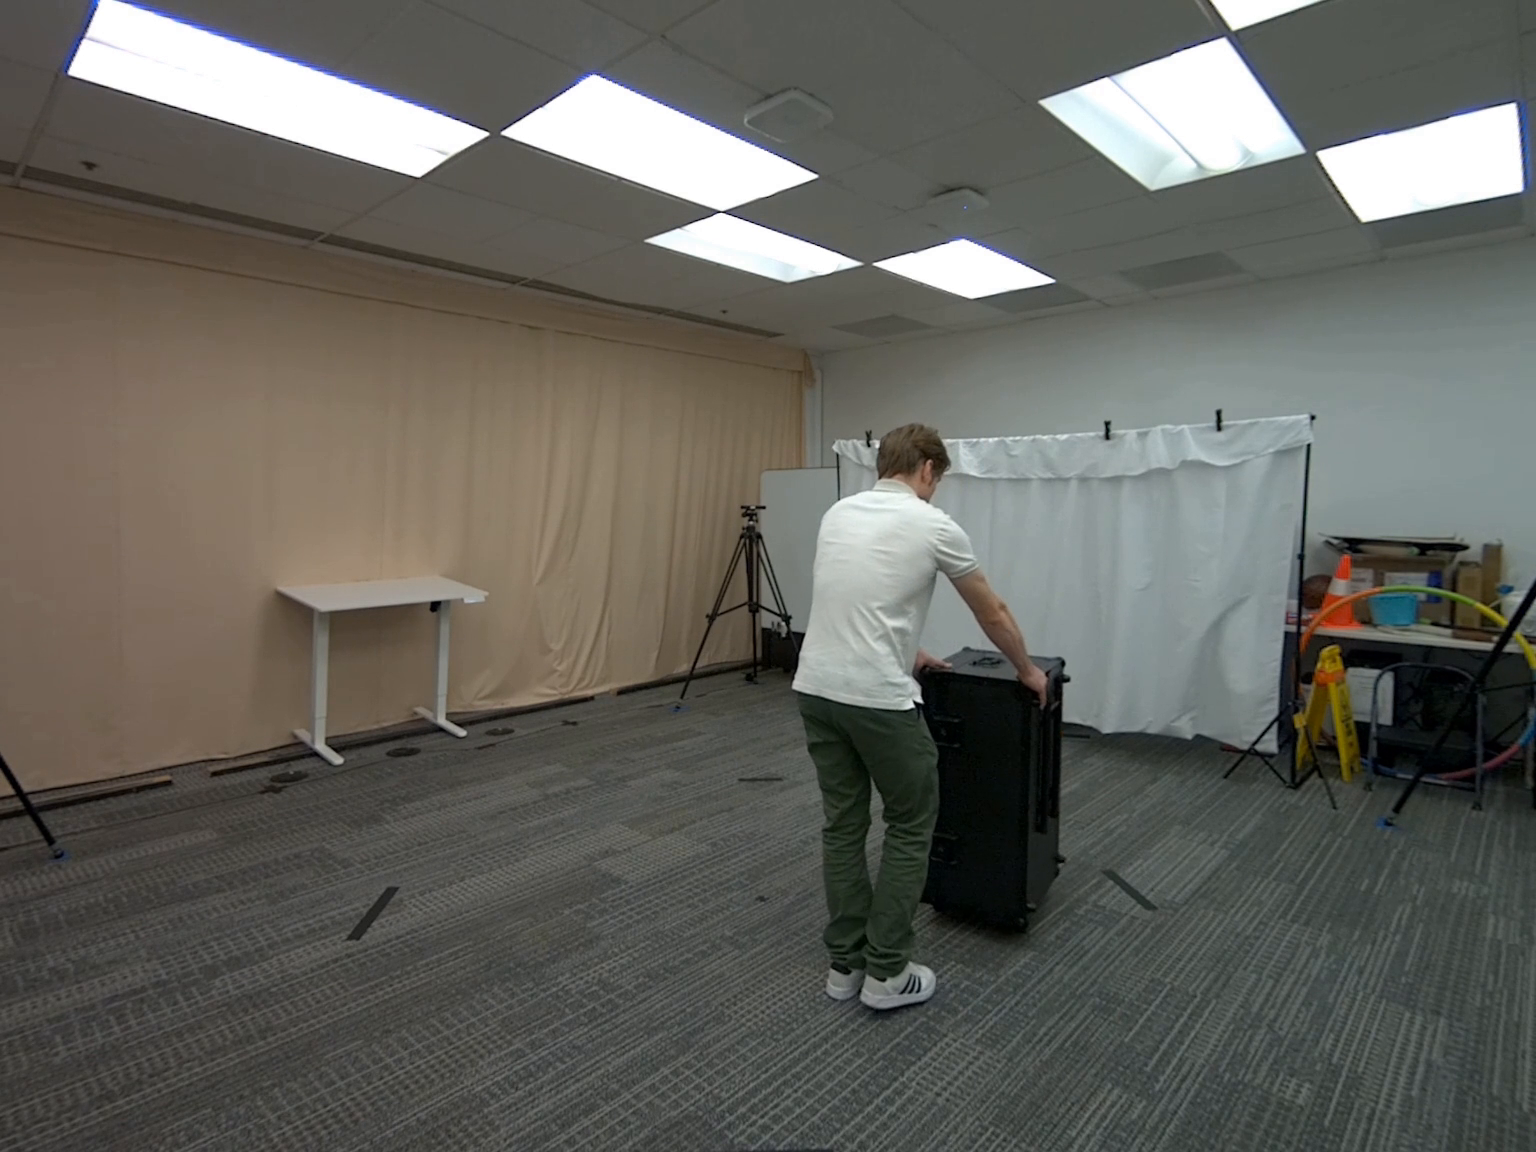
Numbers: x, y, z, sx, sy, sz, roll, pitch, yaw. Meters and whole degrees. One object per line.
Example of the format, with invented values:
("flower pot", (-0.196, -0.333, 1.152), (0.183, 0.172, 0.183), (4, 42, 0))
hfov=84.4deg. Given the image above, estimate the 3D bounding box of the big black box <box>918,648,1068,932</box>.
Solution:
("big black box", (0.786, 0.726, 2.898), (0.397, 0.866, 0.509), (3, 5, 31))
